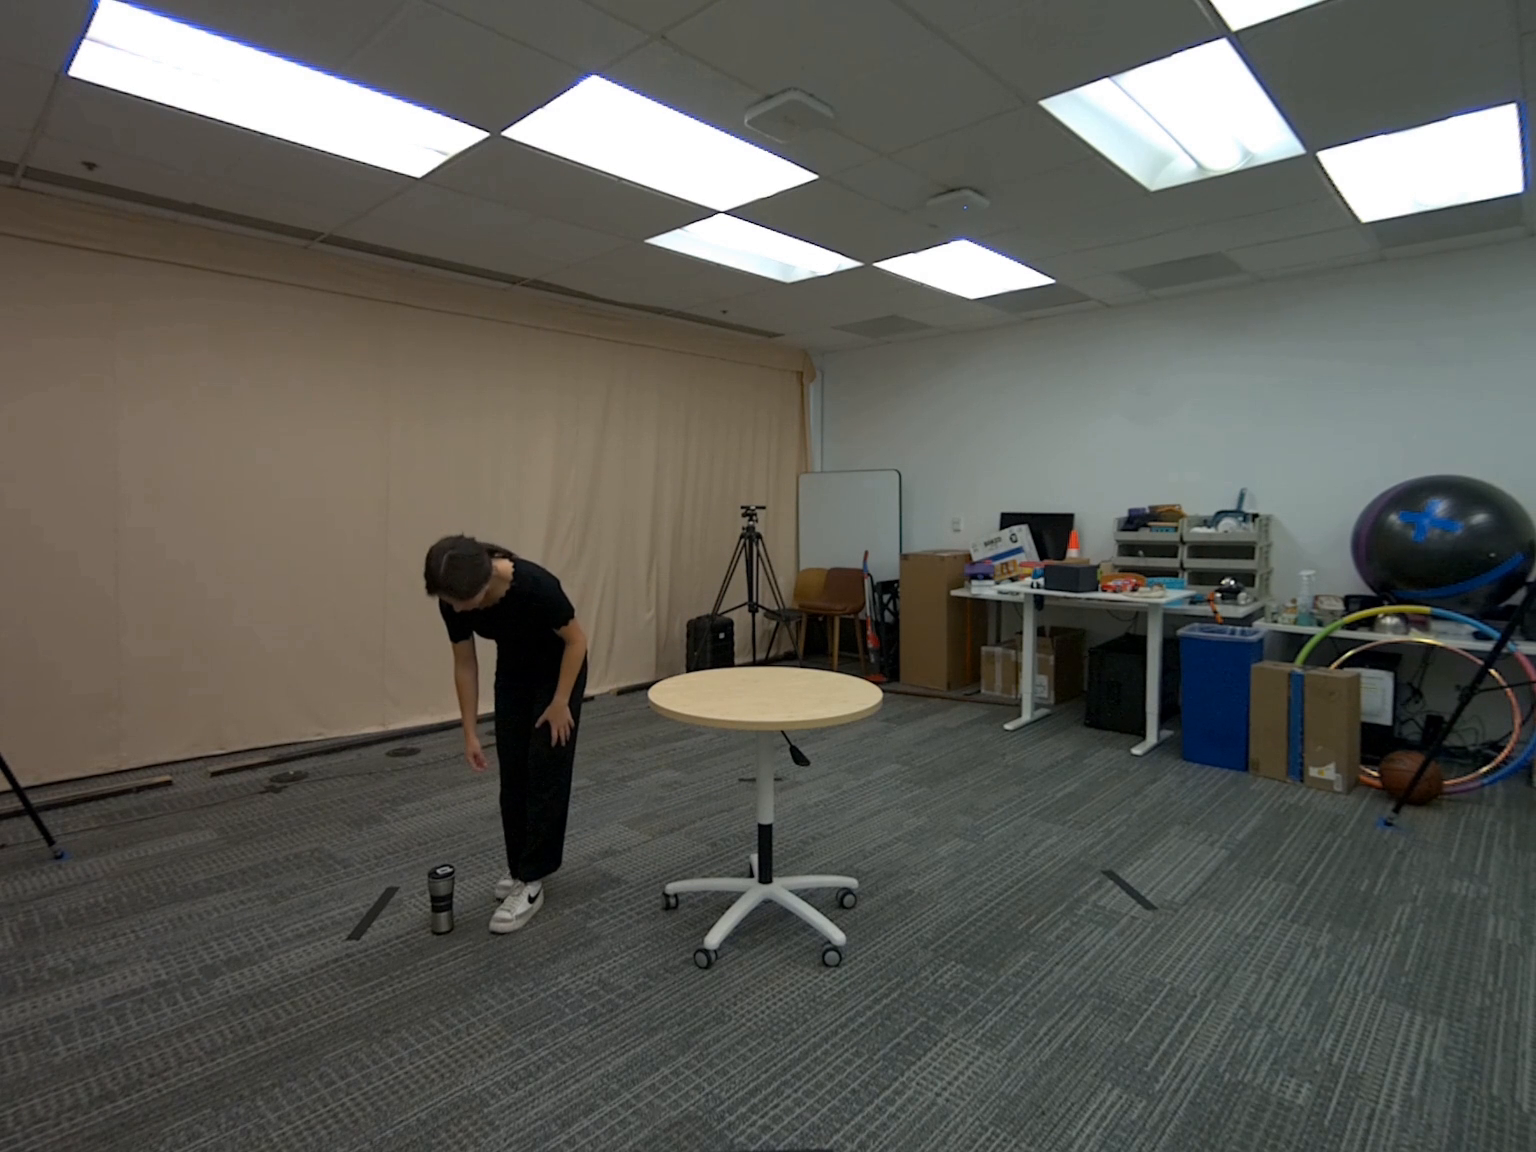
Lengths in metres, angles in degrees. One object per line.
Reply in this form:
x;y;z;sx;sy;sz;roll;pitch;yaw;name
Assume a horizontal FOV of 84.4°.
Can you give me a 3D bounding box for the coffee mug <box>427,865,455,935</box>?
-1.070;1.078;2.789;0.090;0.202;0.118;-1;6;37;coffee mug
